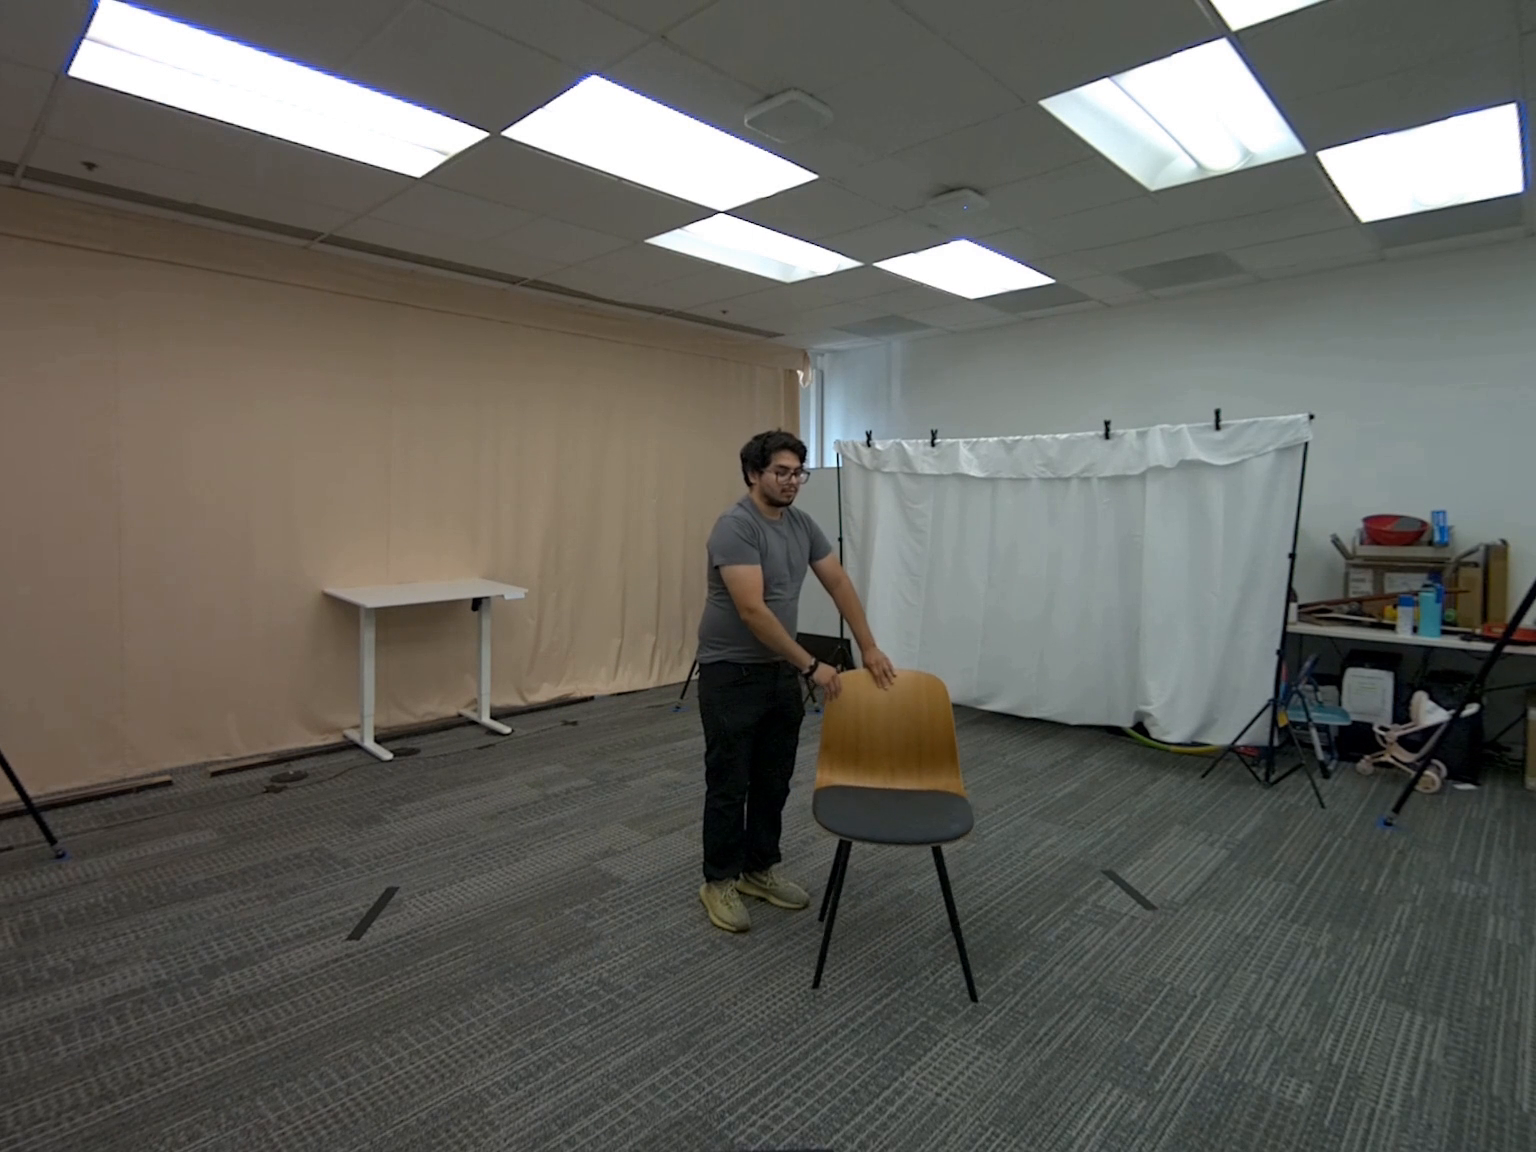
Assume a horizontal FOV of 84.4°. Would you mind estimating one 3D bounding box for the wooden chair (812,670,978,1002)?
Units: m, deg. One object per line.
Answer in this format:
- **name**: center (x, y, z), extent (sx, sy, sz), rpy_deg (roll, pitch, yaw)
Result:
- **wooden chair**: center (0.378, 0.739, 2.556), extent (0.482, 0.879, 0.517), rpy_deg (0, -4, 7)
